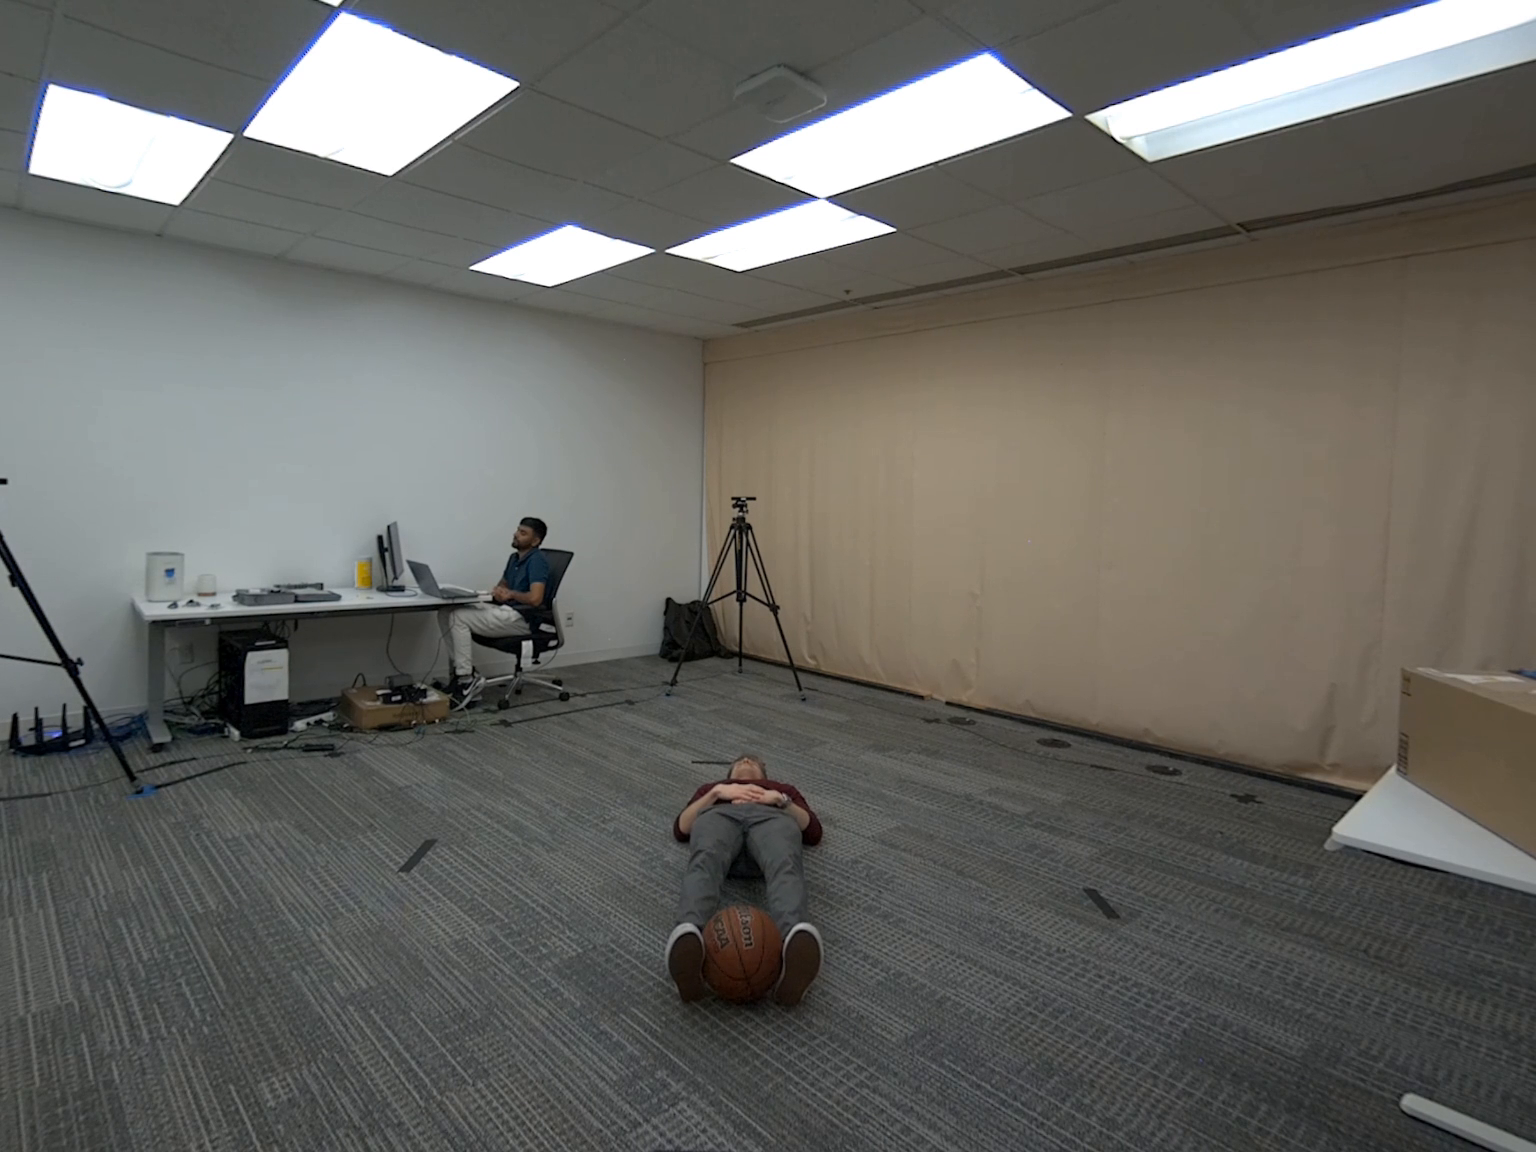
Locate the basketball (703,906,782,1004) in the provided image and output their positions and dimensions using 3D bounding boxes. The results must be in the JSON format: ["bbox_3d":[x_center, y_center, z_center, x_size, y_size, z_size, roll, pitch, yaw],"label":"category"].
[{"bbox_3d":[-0.084,1.044,2.330,0.236,0.234,0.237,0,7,-1],"label":"basketball"}]
